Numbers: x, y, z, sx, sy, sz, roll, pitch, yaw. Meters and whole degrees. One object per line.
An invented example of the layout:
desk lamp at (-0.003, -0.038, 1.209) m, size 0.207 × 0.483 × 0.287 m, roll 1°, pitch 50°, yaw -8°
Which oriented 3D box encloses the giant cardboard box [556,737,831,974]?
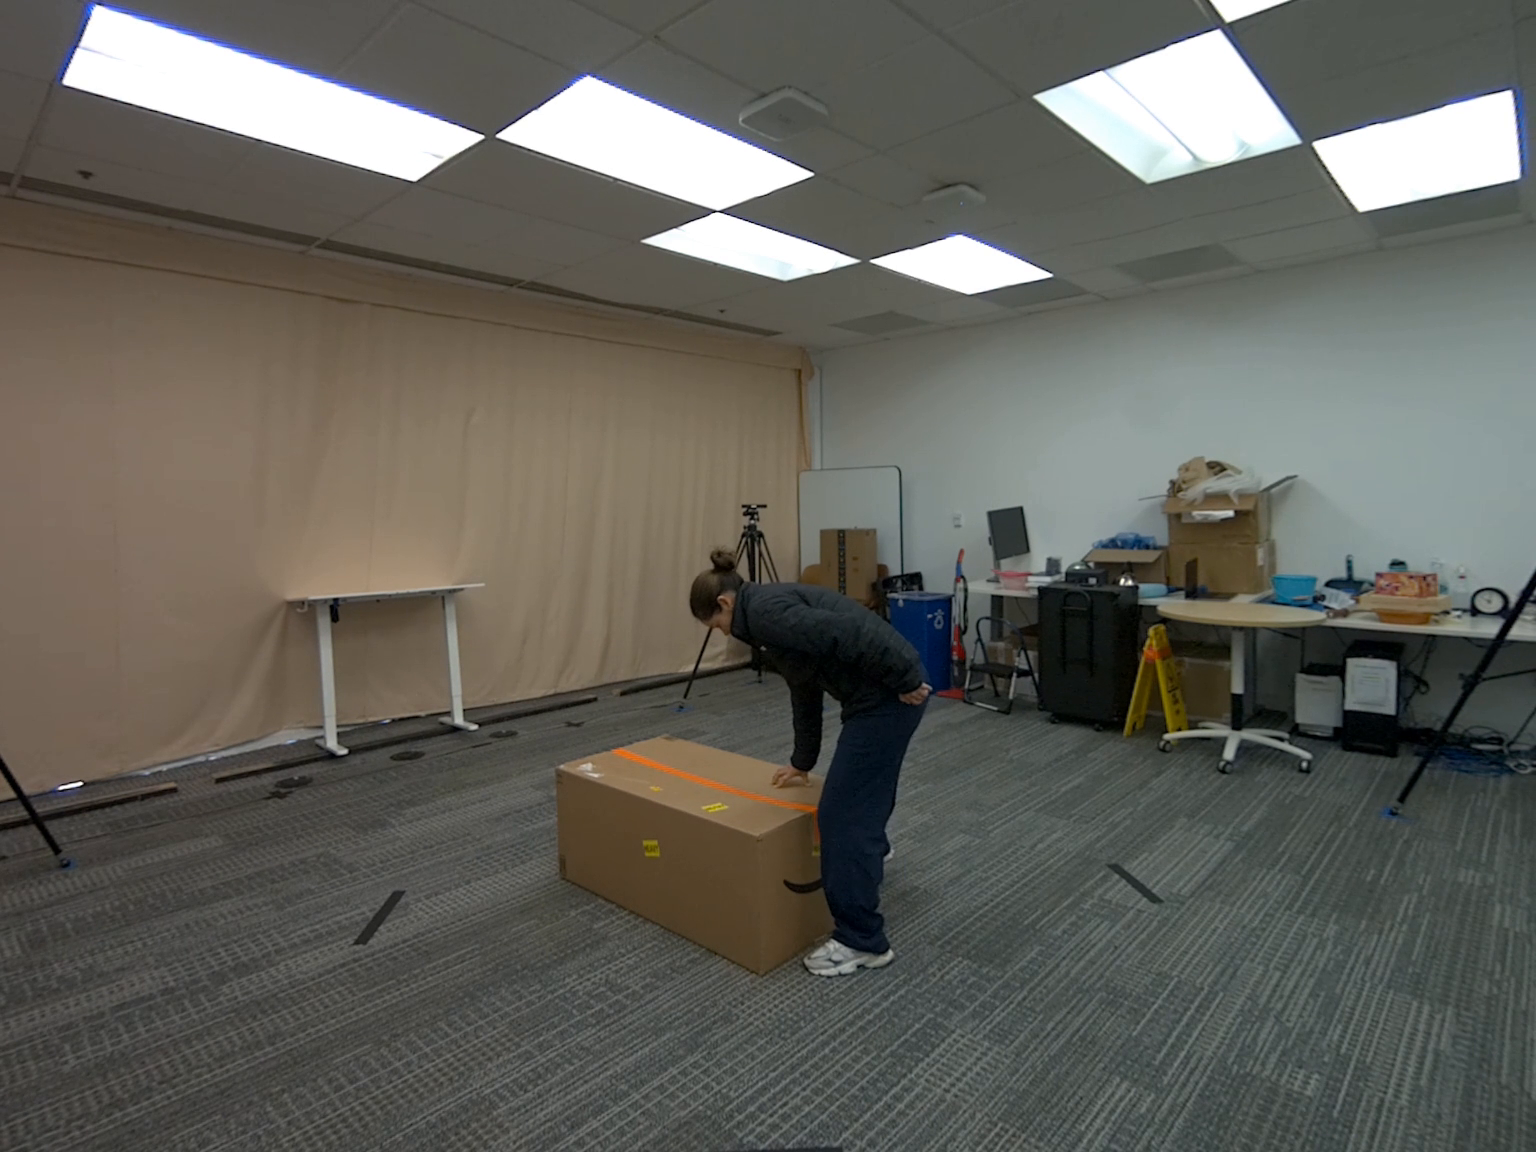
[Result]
giant cardboard box at (-0.213, 0.933, 3.033) m, size 1.061 × 0.446 × 0.566 m, roll 2°, pitch 4°, yaw 42°
